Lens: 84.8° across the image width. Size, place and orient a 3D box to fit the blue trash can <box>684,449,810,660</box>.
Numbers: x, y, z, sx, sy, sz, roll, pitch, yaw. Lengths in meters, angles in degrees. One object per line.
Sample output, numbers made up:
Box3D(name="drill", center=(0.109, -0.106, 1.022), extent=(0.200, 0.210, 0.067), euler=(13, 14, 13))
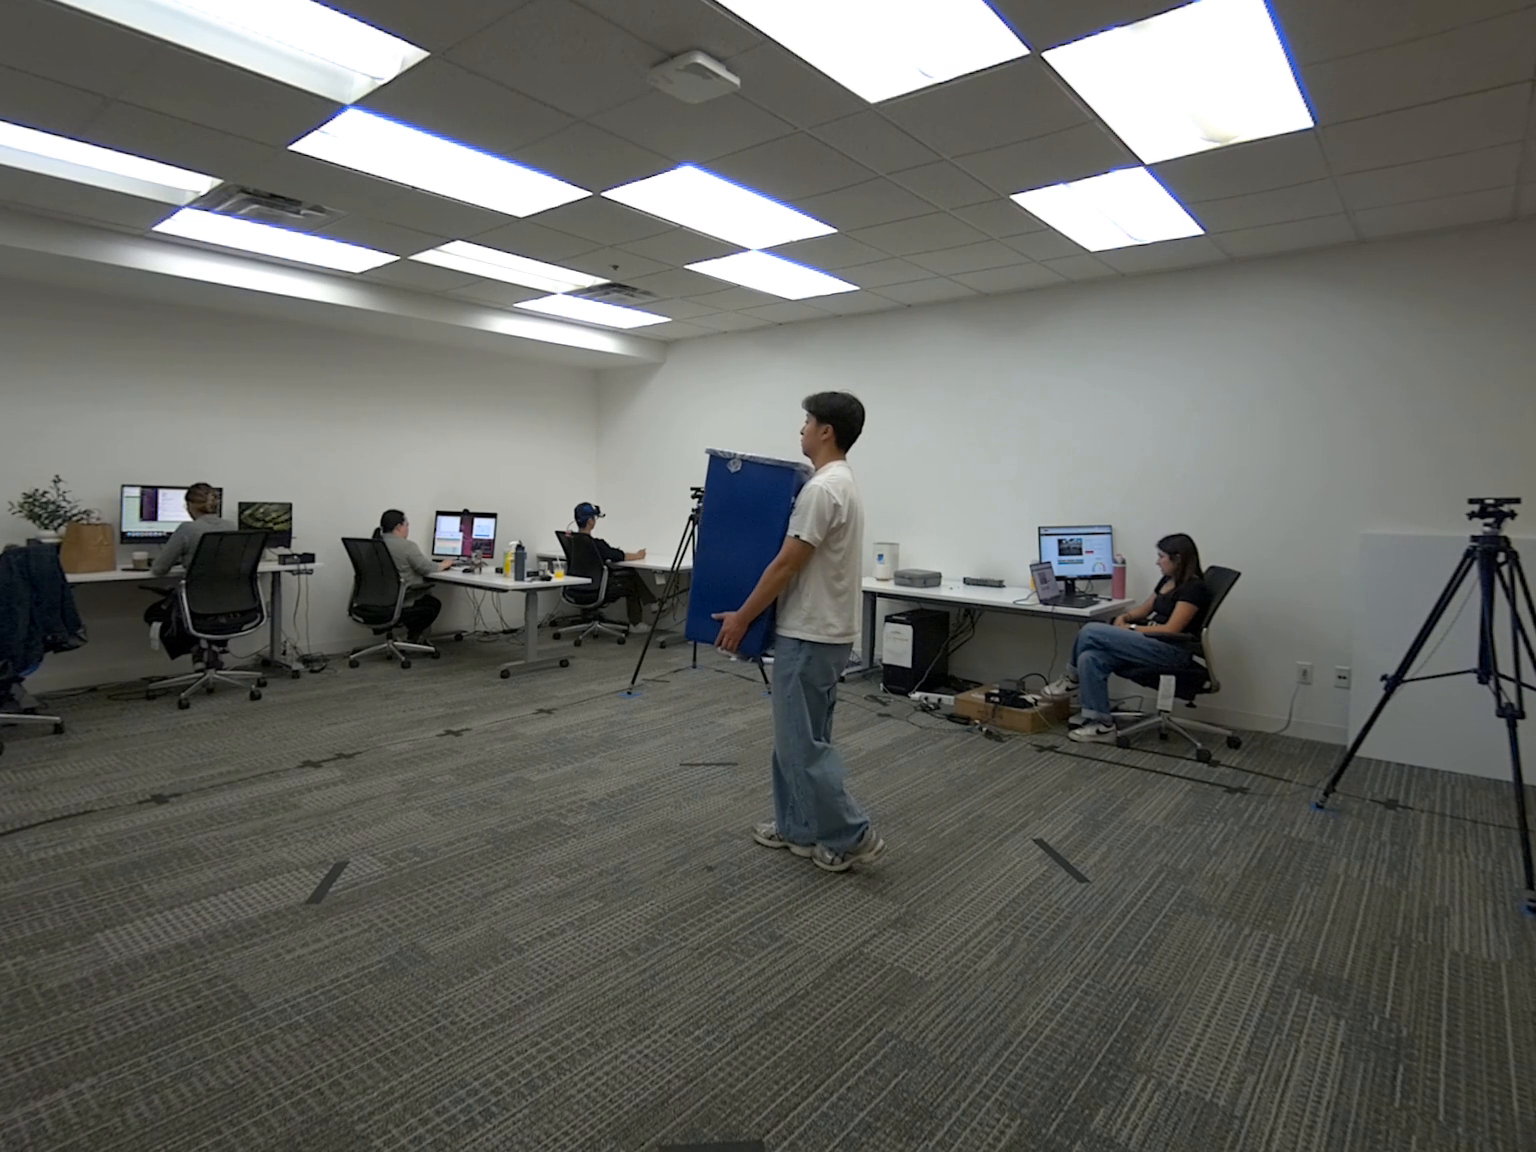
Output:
Box3D(name="blue trash can", center=(-0.090, -0.106, 3.263), extent=(0.385, 0.711, 0.368), euler=(12, 5, 15))
